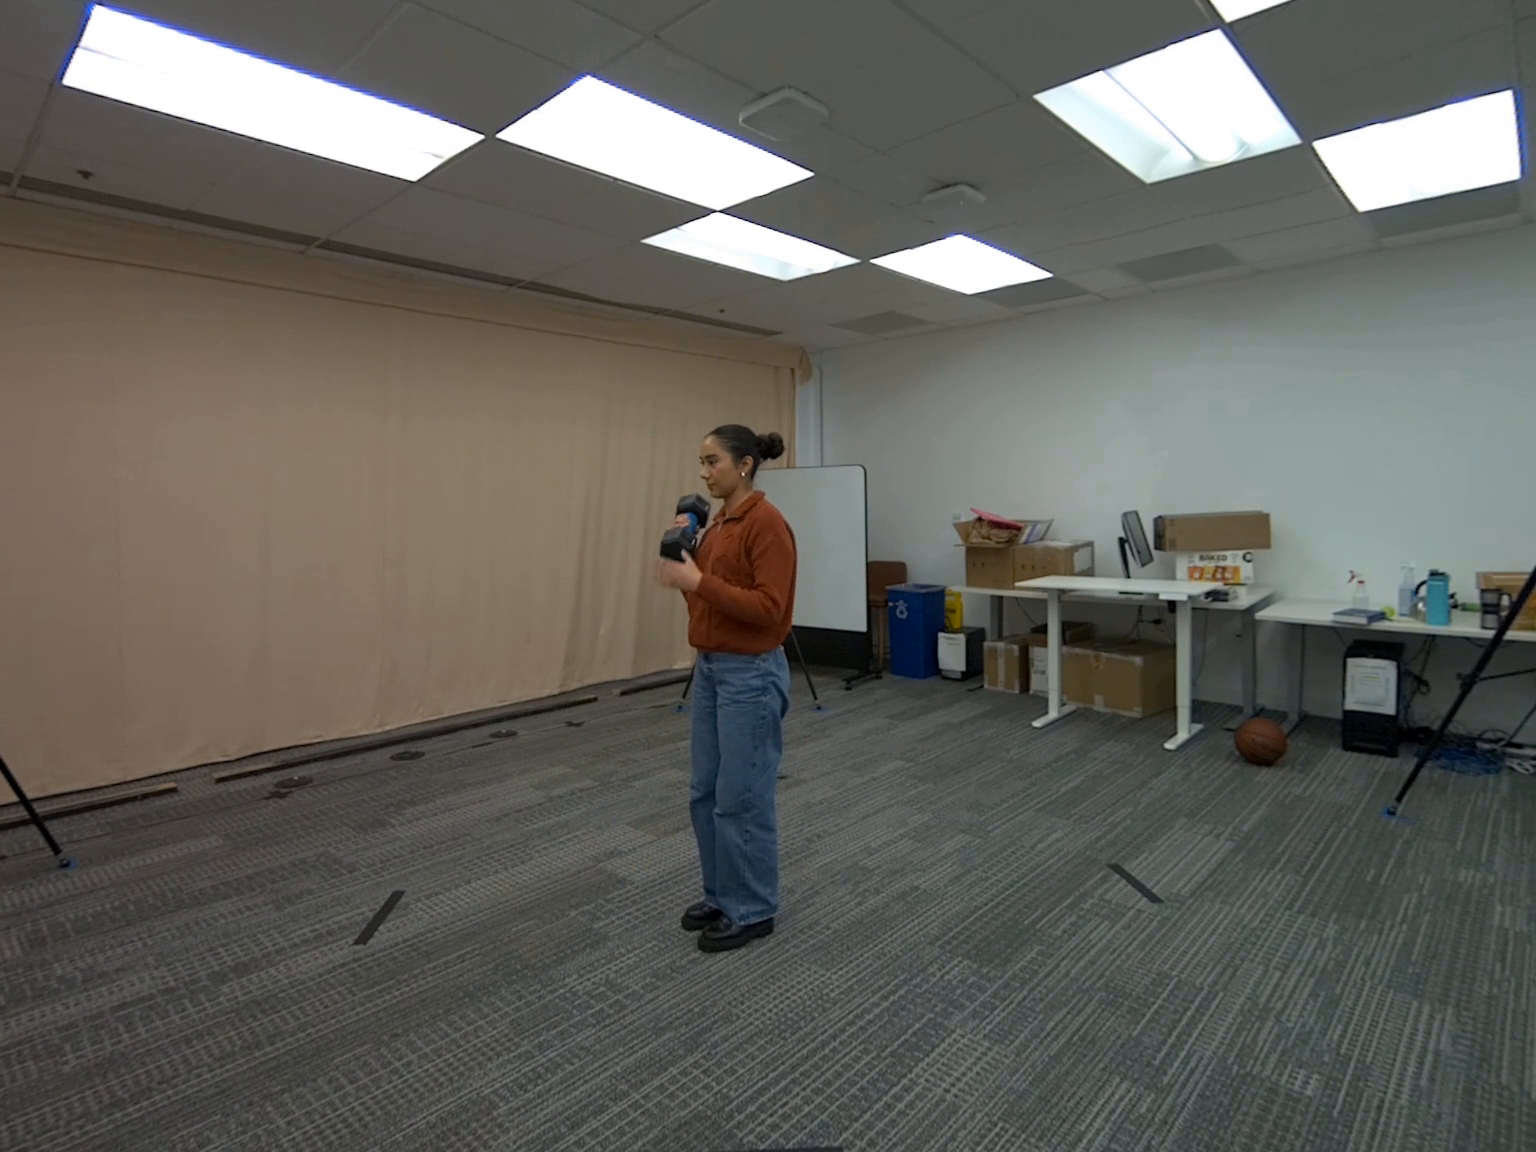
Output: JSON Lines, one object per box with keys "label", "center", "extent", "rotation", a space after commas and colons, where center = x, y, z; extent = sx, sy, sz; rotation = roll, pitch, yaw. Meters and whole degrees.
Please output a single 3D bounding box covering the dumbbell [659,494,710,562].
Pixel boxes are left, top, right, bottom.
{"label": "dumbbell", "center": [-0.266, -0.152, 2.776], "extent": [0.109, 0.121, 0.295], "rotation": [13, 39, 3]}
